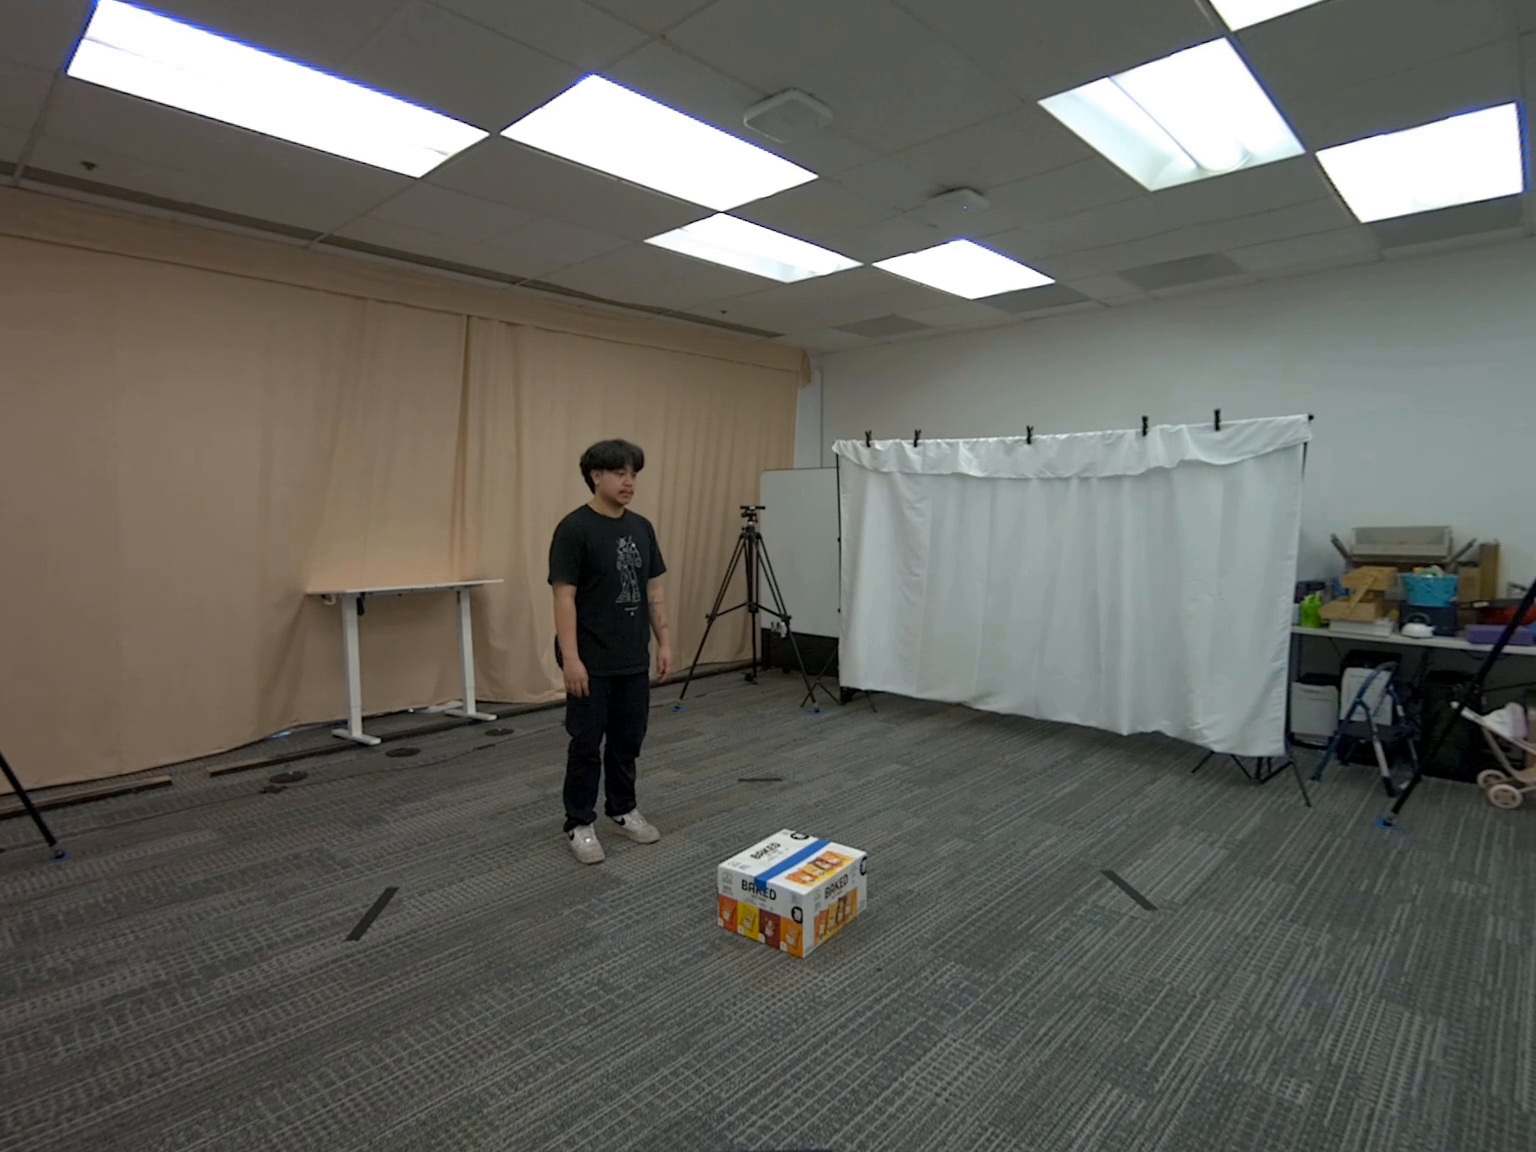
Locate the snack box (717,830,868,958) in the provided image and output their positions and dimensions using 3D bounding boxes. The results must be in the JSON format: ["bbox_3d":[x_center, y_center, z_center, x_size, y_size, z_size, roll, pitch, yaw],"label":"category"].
[{"bbox_3d":[0.090,1.054,2.839,0.351,0.205,0.393,3,6,36],"label":"snack box"}]
